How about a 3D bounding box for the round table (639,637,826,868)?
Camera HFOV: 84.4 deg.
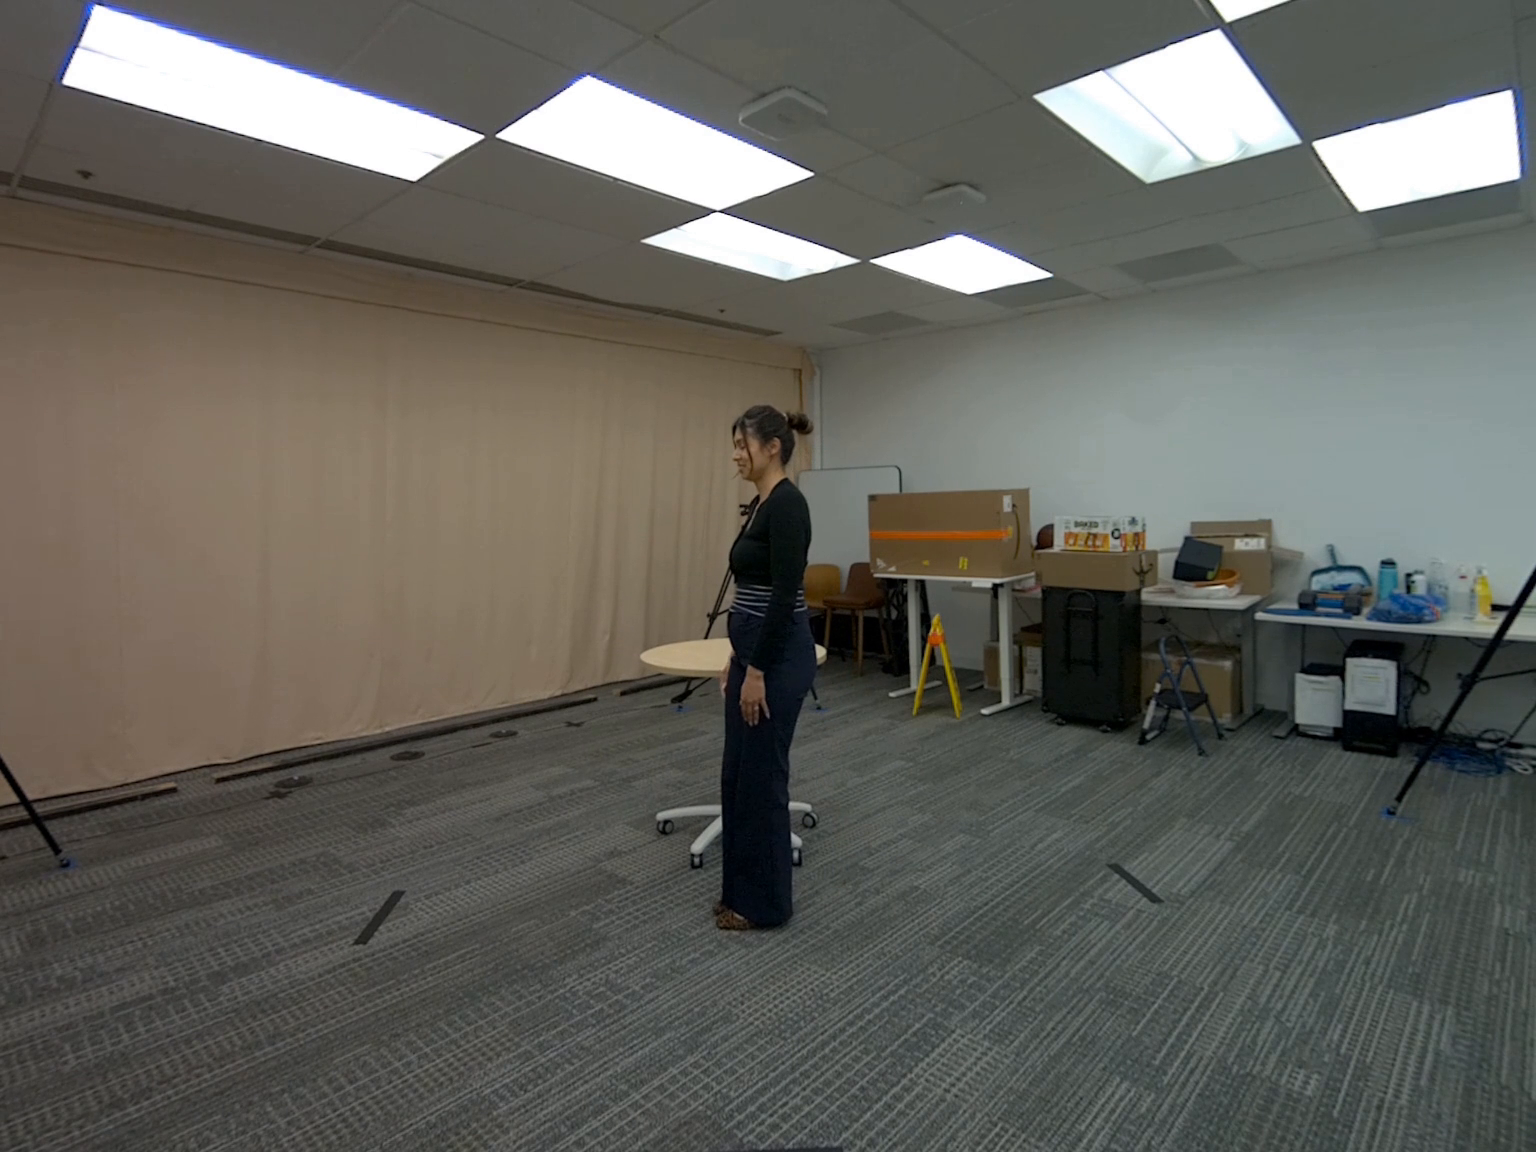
[{"bbox_3d":[-0.127,0.709,3.491,0.763,0.792,0.766,-2,3,-2],"label":"round table"}]
